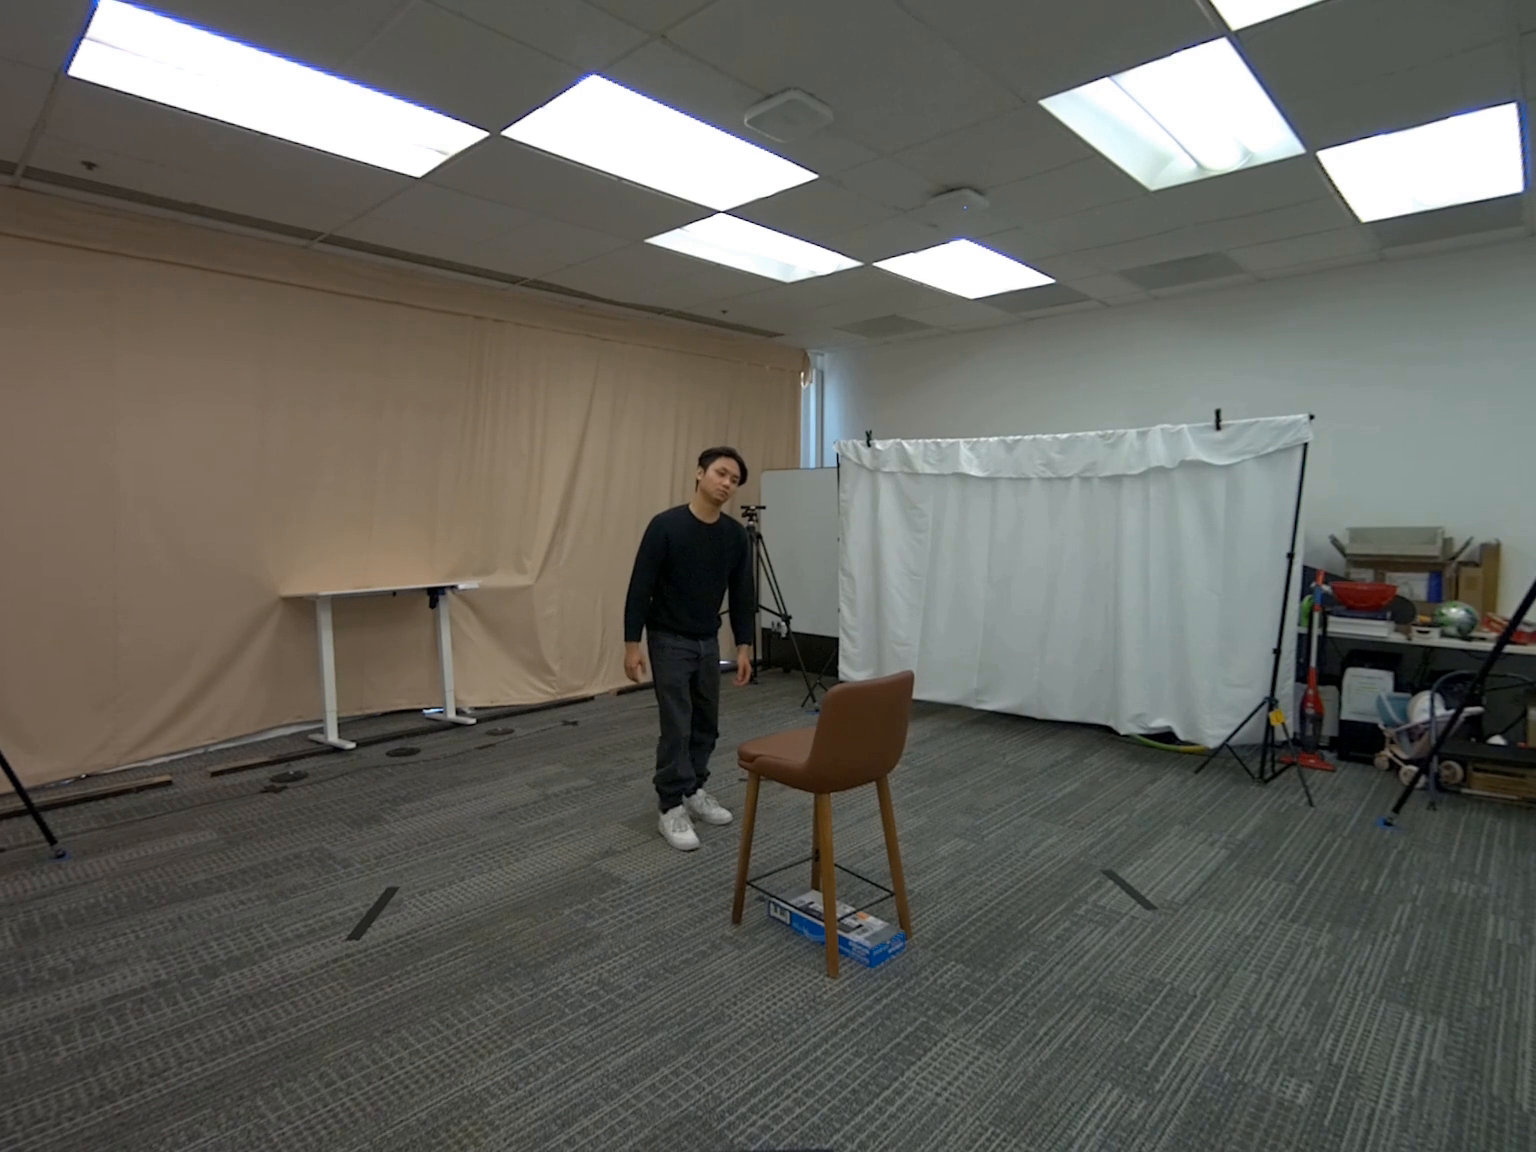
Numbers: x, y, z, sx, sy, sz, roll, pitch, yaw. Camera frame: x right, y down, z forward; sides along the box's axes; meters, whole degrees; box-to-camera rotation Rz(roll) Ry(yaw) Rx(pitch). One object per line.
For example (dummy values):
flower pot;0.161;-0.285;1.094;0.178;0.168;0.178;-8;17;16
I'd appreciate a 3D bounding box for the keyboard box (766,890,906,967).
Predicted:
keyboard box;0.222;1.137;2.748;0.170;0.059;0.451;-4;5;-43
